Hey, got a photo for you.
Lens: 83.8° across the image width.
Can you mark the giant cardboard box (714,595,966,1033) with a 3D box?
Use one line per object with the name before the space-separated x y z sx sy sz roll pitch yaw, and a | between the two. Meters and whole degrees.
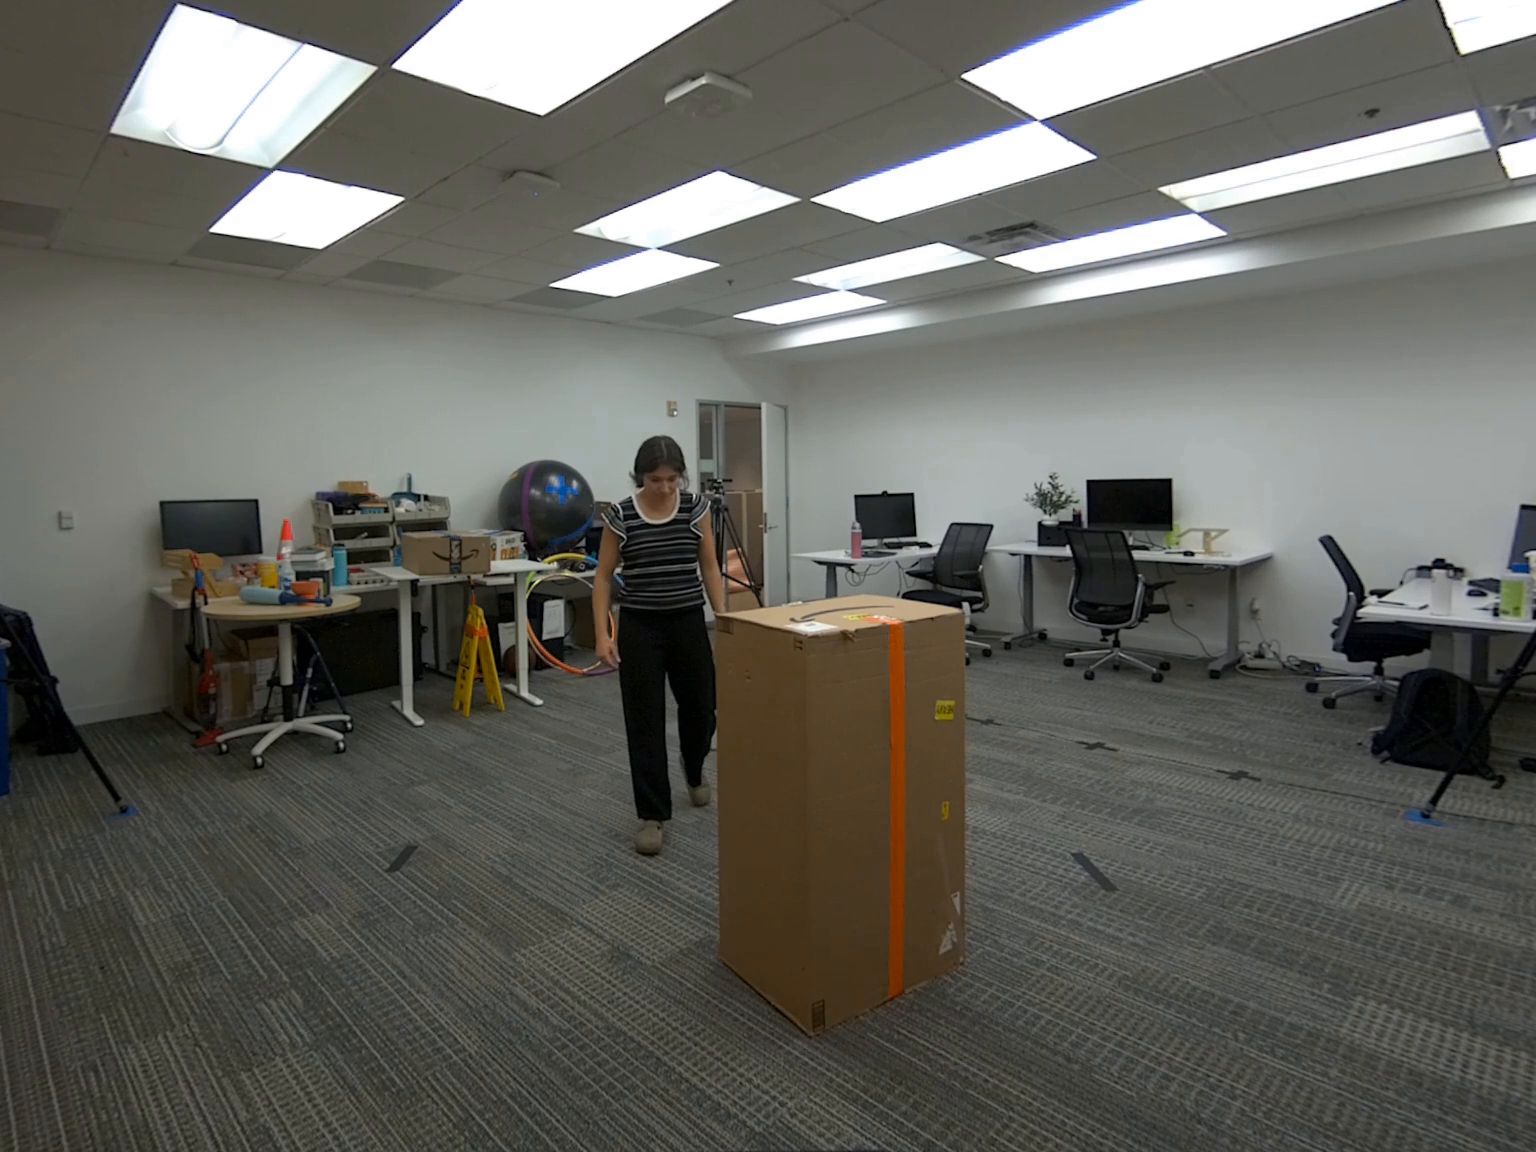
giant cardboard box | 0.210 0.610 2.434 0.563 1.022 0.439 -4 5 -35
